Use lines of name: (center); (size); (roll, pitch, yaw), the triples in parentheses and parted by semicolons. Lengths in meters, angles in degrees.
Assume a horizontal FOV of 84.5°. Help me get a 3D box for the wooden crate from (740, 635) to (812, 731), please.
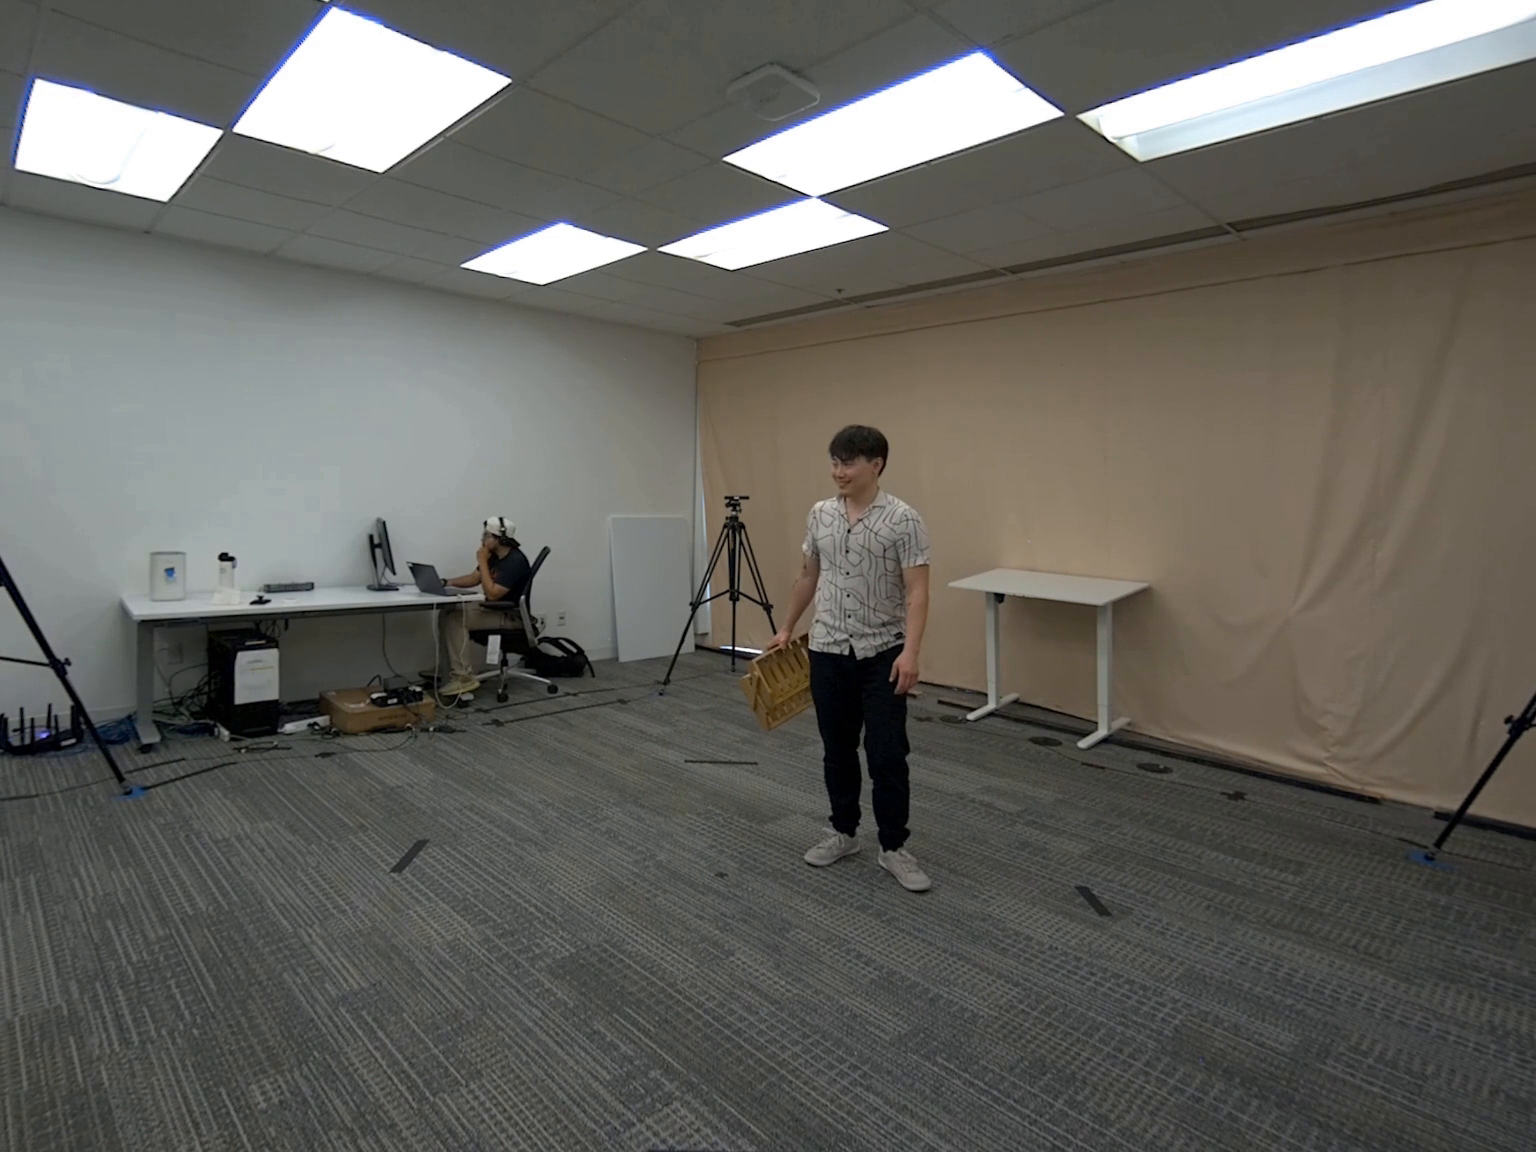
wooden crate: (0.073, 0.443, 3.544); (0.322, 0.304, 0.274); (-27, -6, -25)
